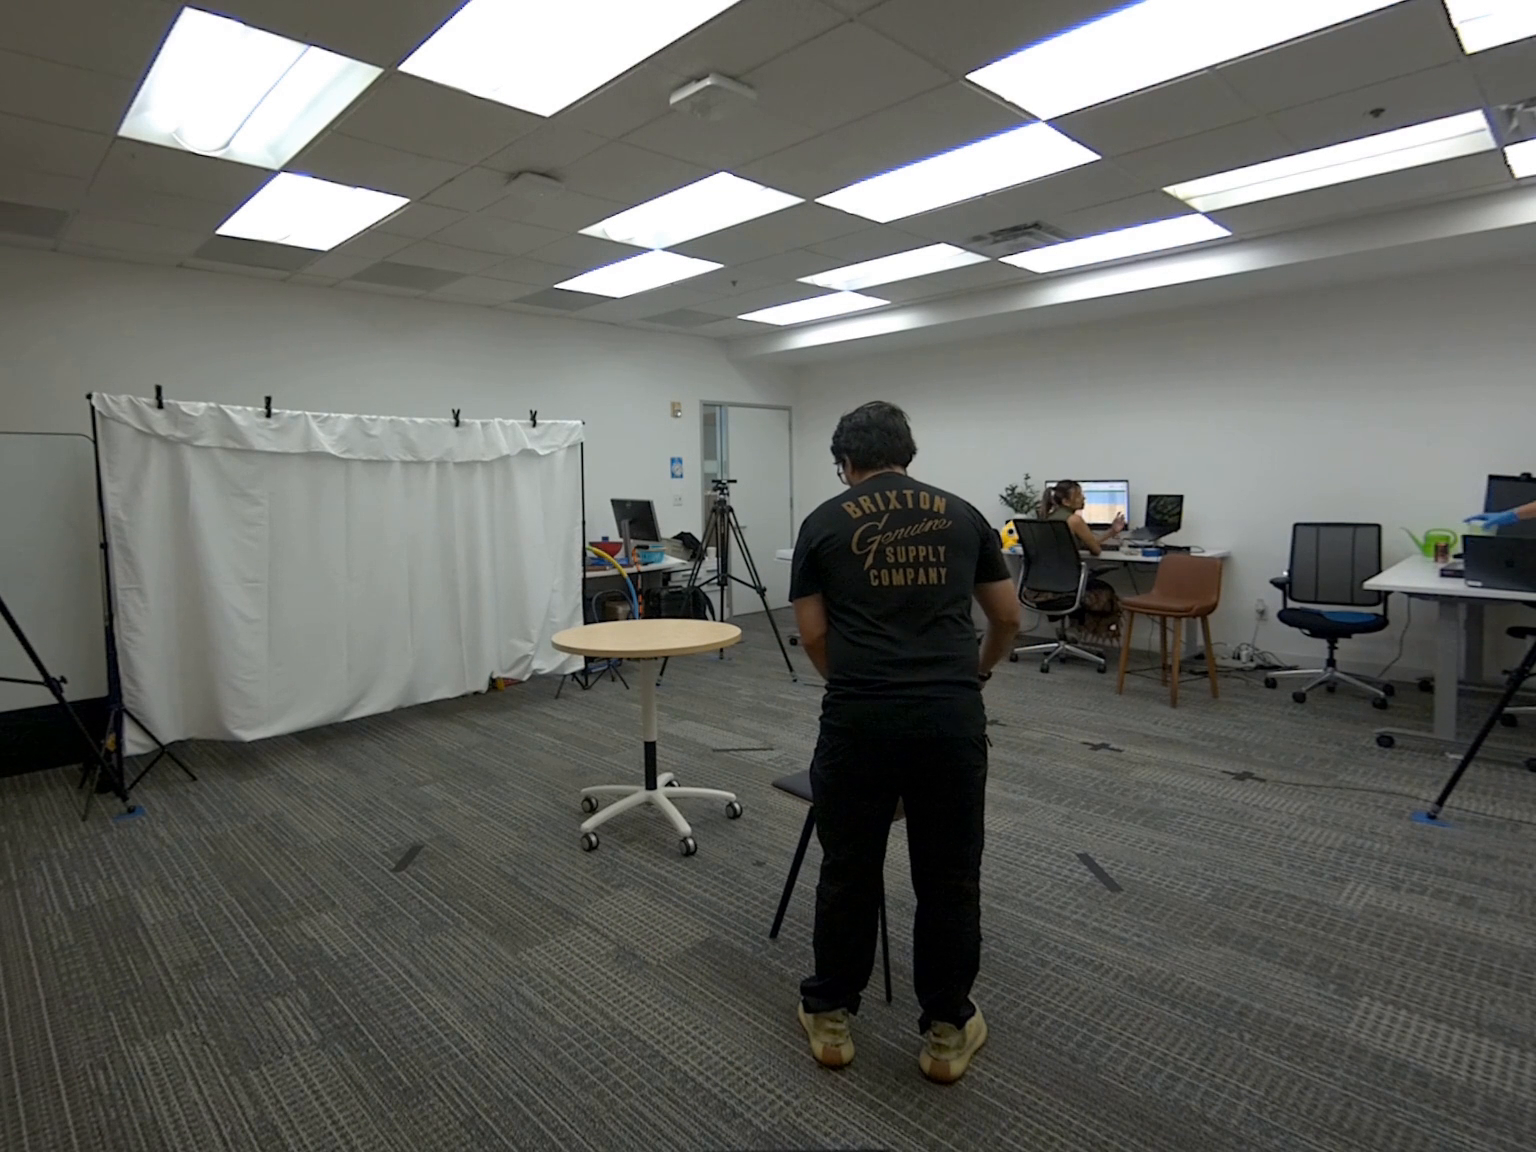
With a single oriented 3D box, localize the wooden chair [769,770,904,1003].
[{"bbox_3d":[0.320,0.676,2.560,0.466,0.871,0.541,-6,11,-43],"label":"wooden chair"}]
